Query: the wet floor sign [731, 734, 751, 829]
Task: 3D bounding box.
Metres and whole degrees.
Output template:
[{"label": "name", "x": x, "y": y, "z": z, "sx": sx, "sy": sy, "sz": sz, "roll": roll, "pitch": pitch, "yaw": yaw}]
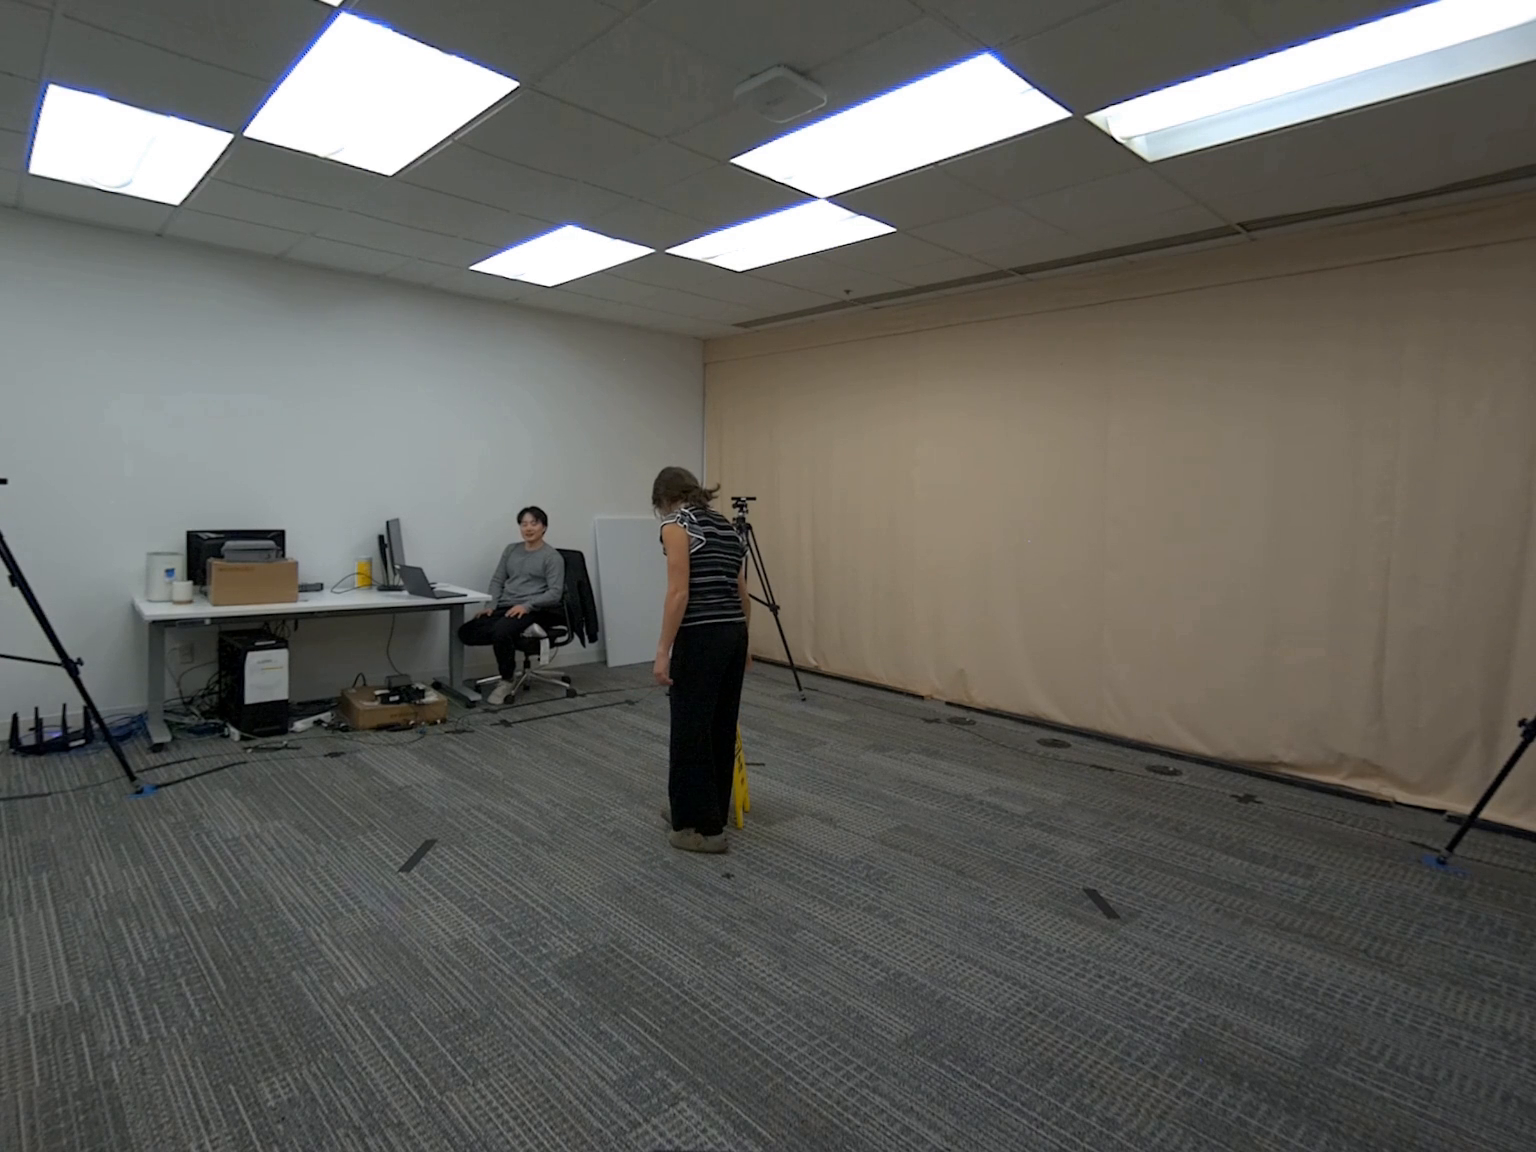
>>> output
[{"label": "wet floor sign", "x": -0.210, "y": 0.732, "z": 3.691, "sx": 0.291, "sy": 0.644, "sz": 0.281, "roll": 3, "pitch": 3, "yaw": 7}]
